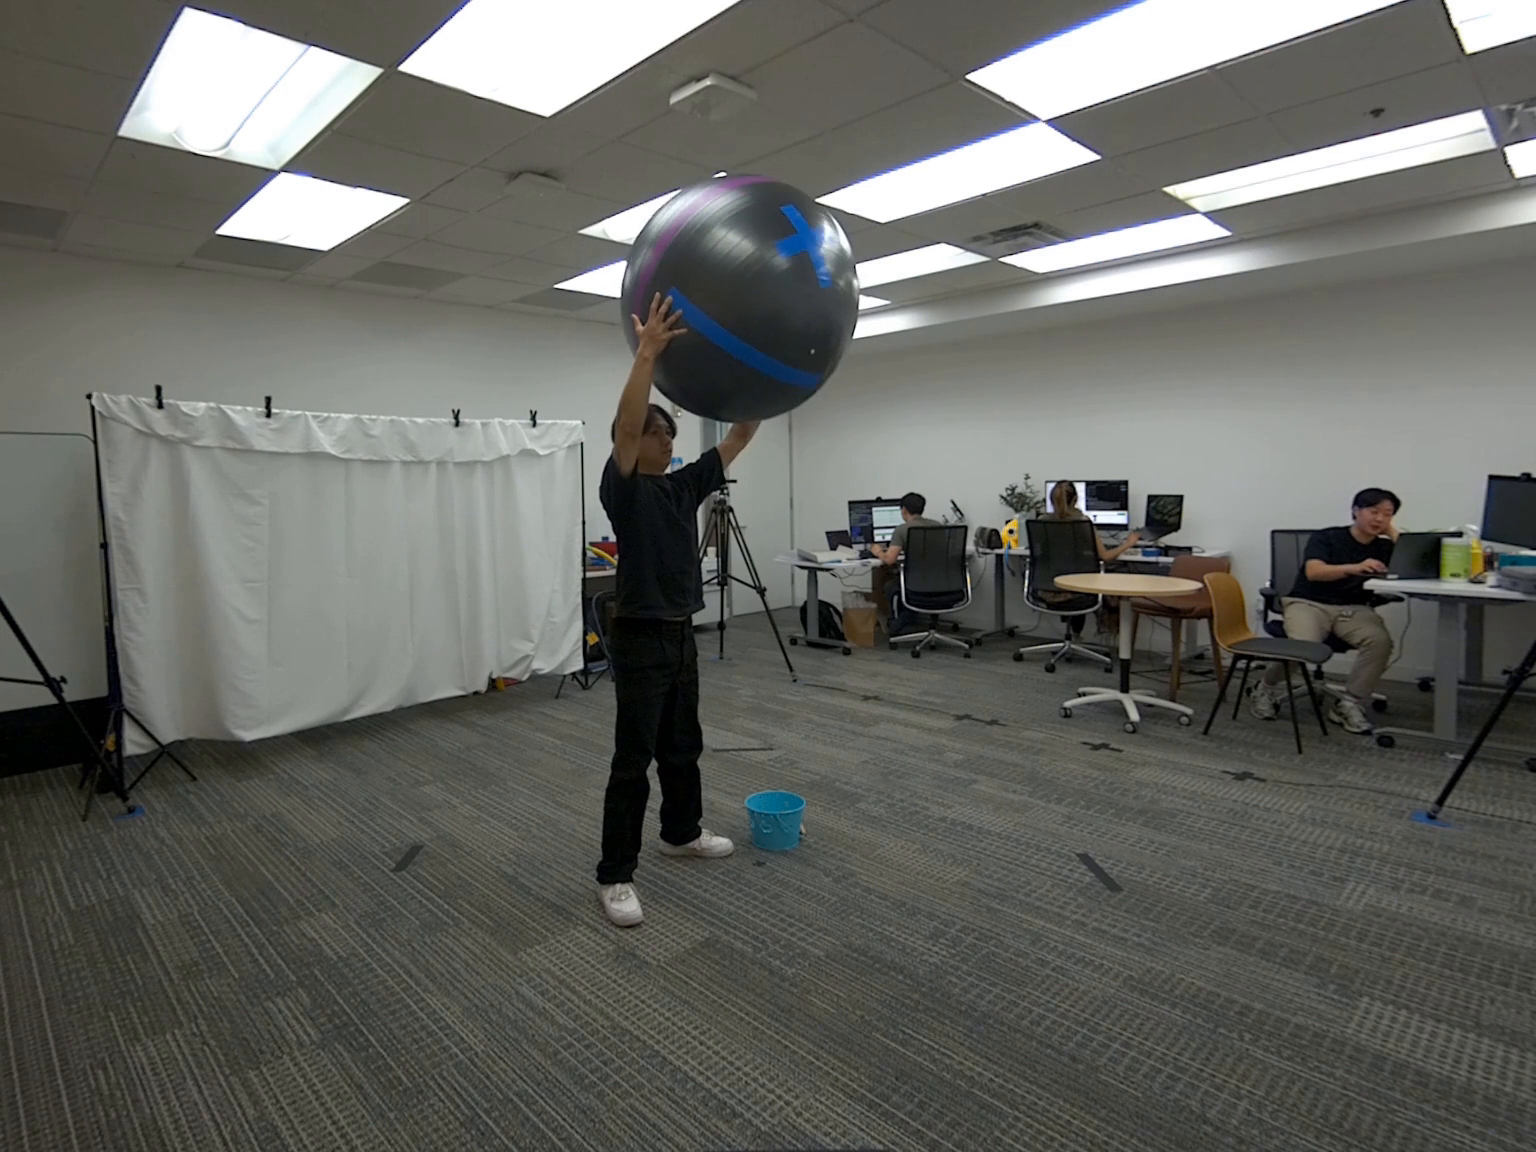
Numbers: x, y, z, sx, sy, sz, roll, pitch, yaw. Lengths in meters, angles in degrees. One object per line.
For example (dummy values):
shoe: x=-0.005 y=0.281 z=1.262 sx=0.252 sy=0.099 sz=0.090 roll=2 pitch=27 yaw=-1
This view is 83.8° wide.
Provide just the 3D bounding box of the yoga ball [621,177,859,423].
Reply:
yoga ball: x=-0.088 y=-0.864 z=2.723 sx=0.757 sy=0.755 sz=0.762 roll=-1 pitch=5 yaw=-2
